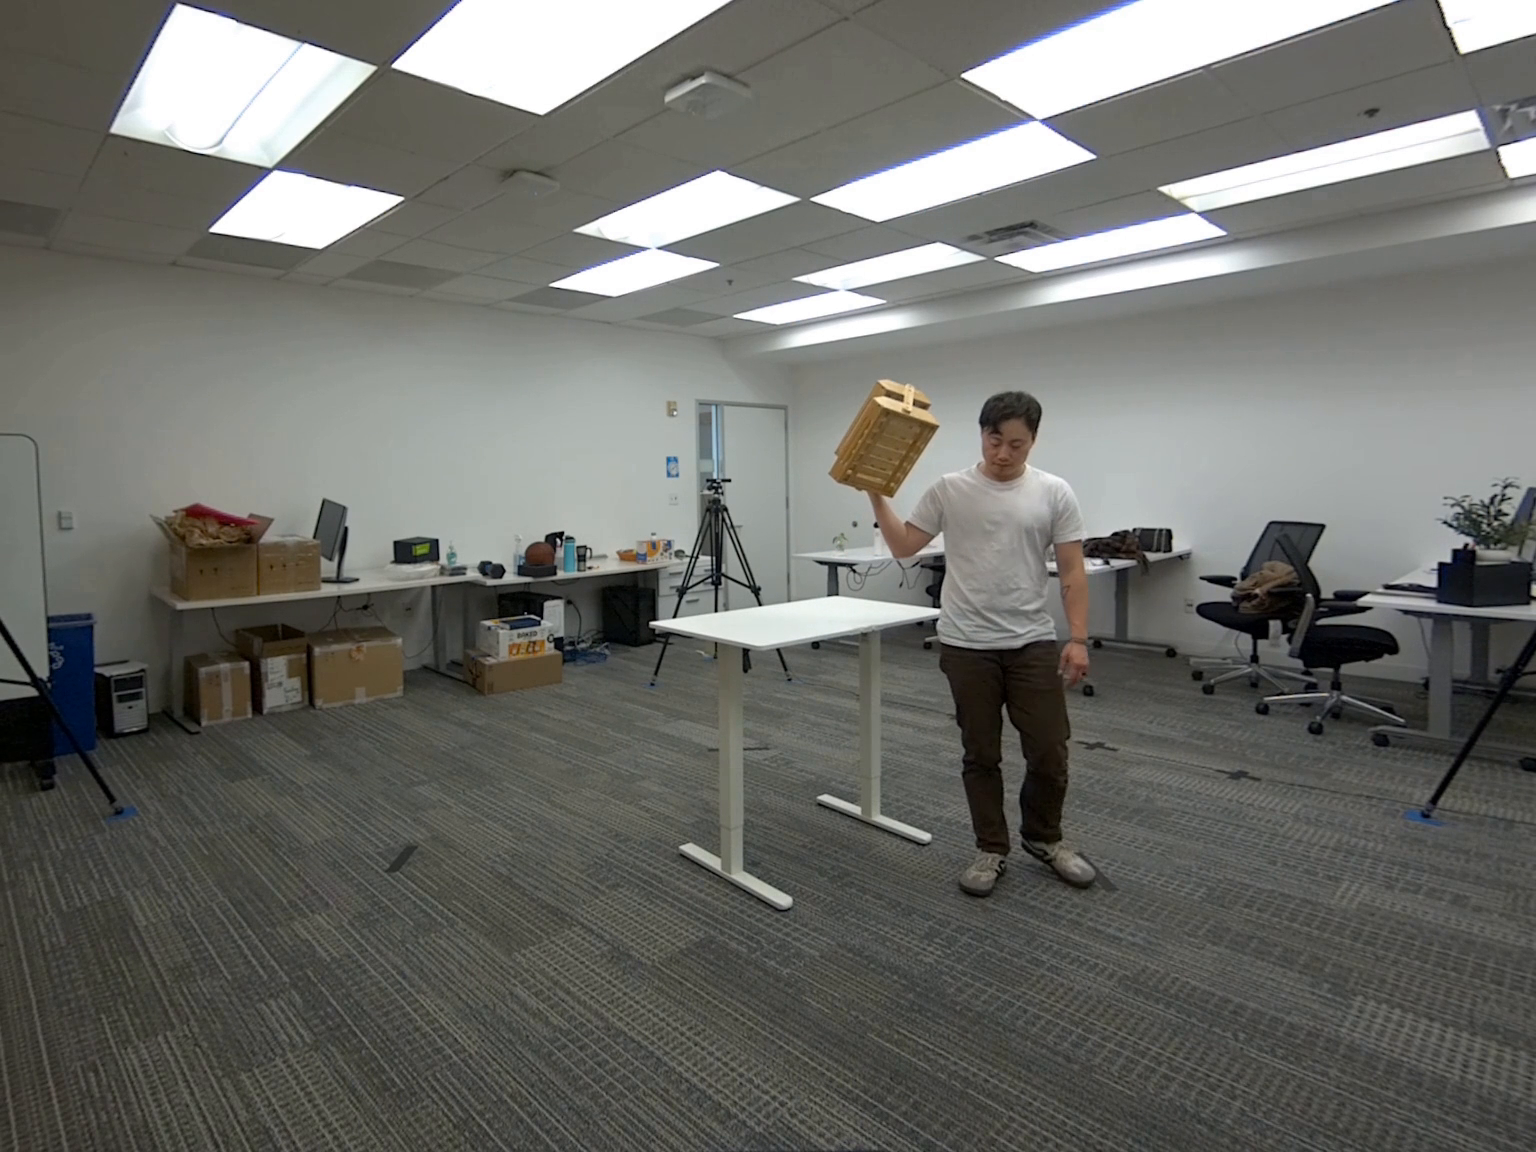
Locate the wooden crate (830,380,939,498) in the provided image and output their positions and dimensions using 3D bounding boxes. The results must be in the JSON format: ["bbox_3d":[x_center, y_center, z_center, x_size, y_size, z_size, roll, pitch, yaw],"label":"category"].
[{"bbox_3d":[0.384,-0.484,2.913,0.294,0.322,0.283,13,35,-26],"label":"wooden crate"}]
